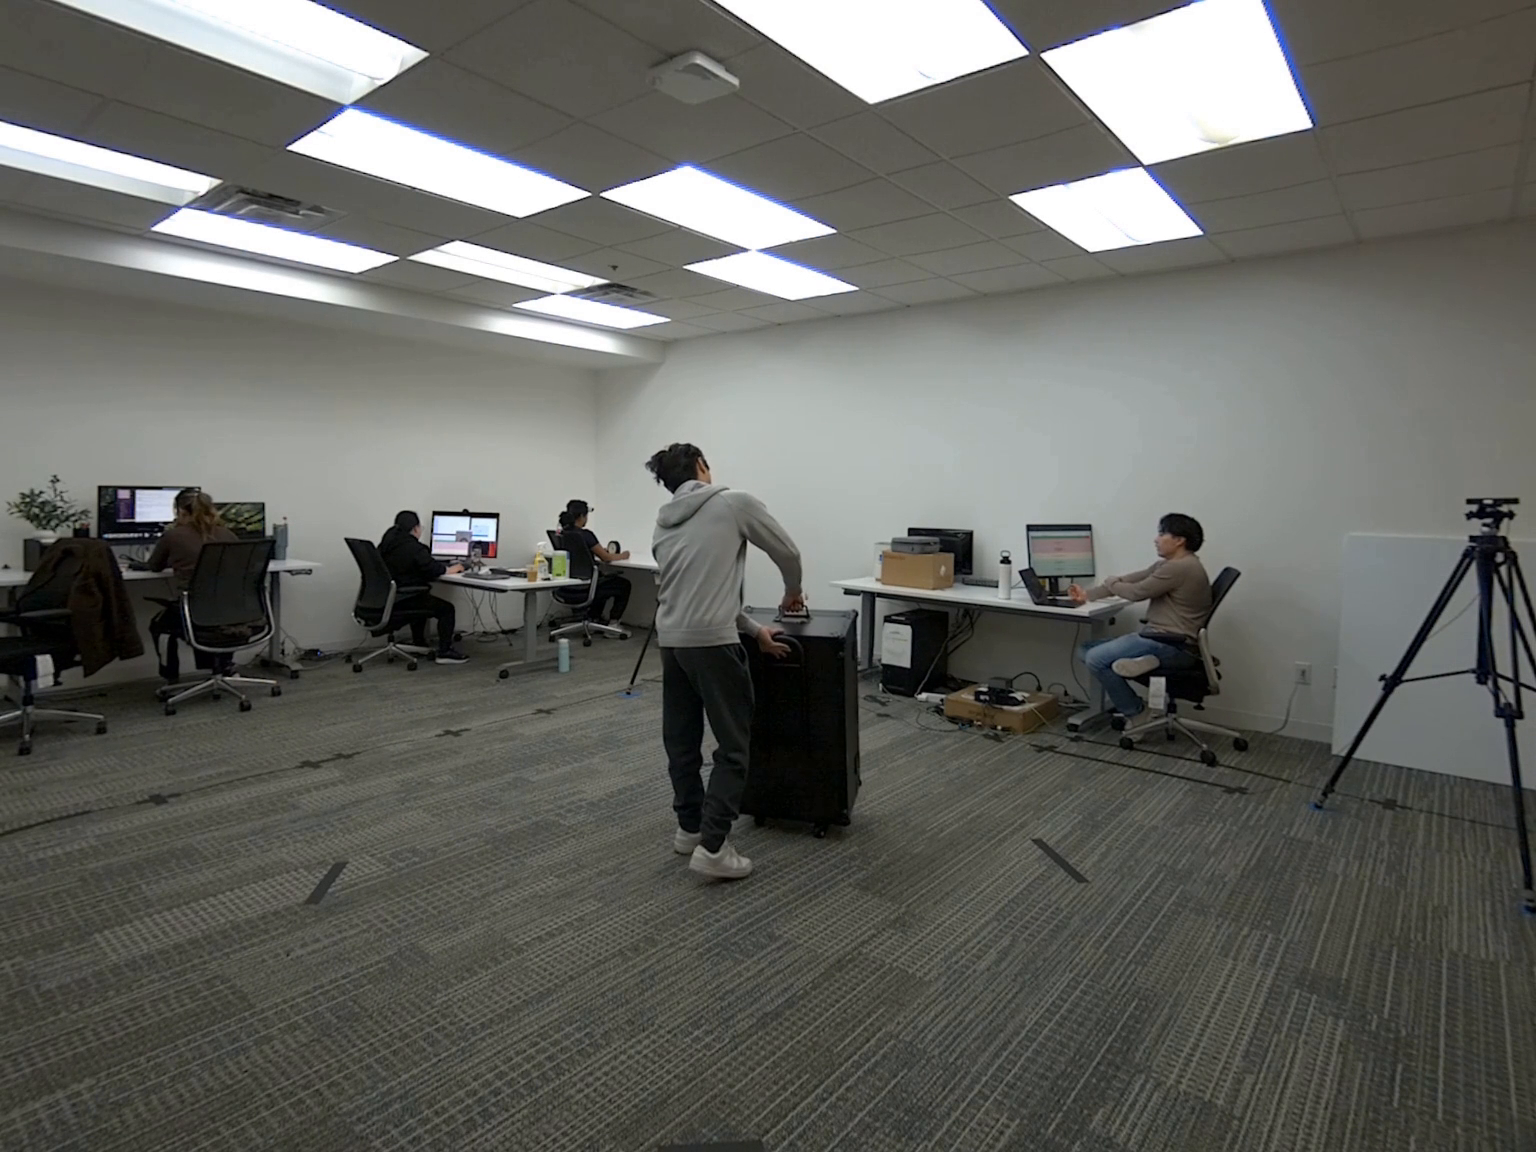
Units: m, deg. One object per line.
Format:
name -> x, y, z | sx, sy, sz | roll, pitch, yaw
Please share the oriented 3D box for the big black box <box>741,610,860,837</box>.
big black box -> 0.103, 0.537, 3.504 | 0.531, 0.852, 0.394 | 1, 12, 16
